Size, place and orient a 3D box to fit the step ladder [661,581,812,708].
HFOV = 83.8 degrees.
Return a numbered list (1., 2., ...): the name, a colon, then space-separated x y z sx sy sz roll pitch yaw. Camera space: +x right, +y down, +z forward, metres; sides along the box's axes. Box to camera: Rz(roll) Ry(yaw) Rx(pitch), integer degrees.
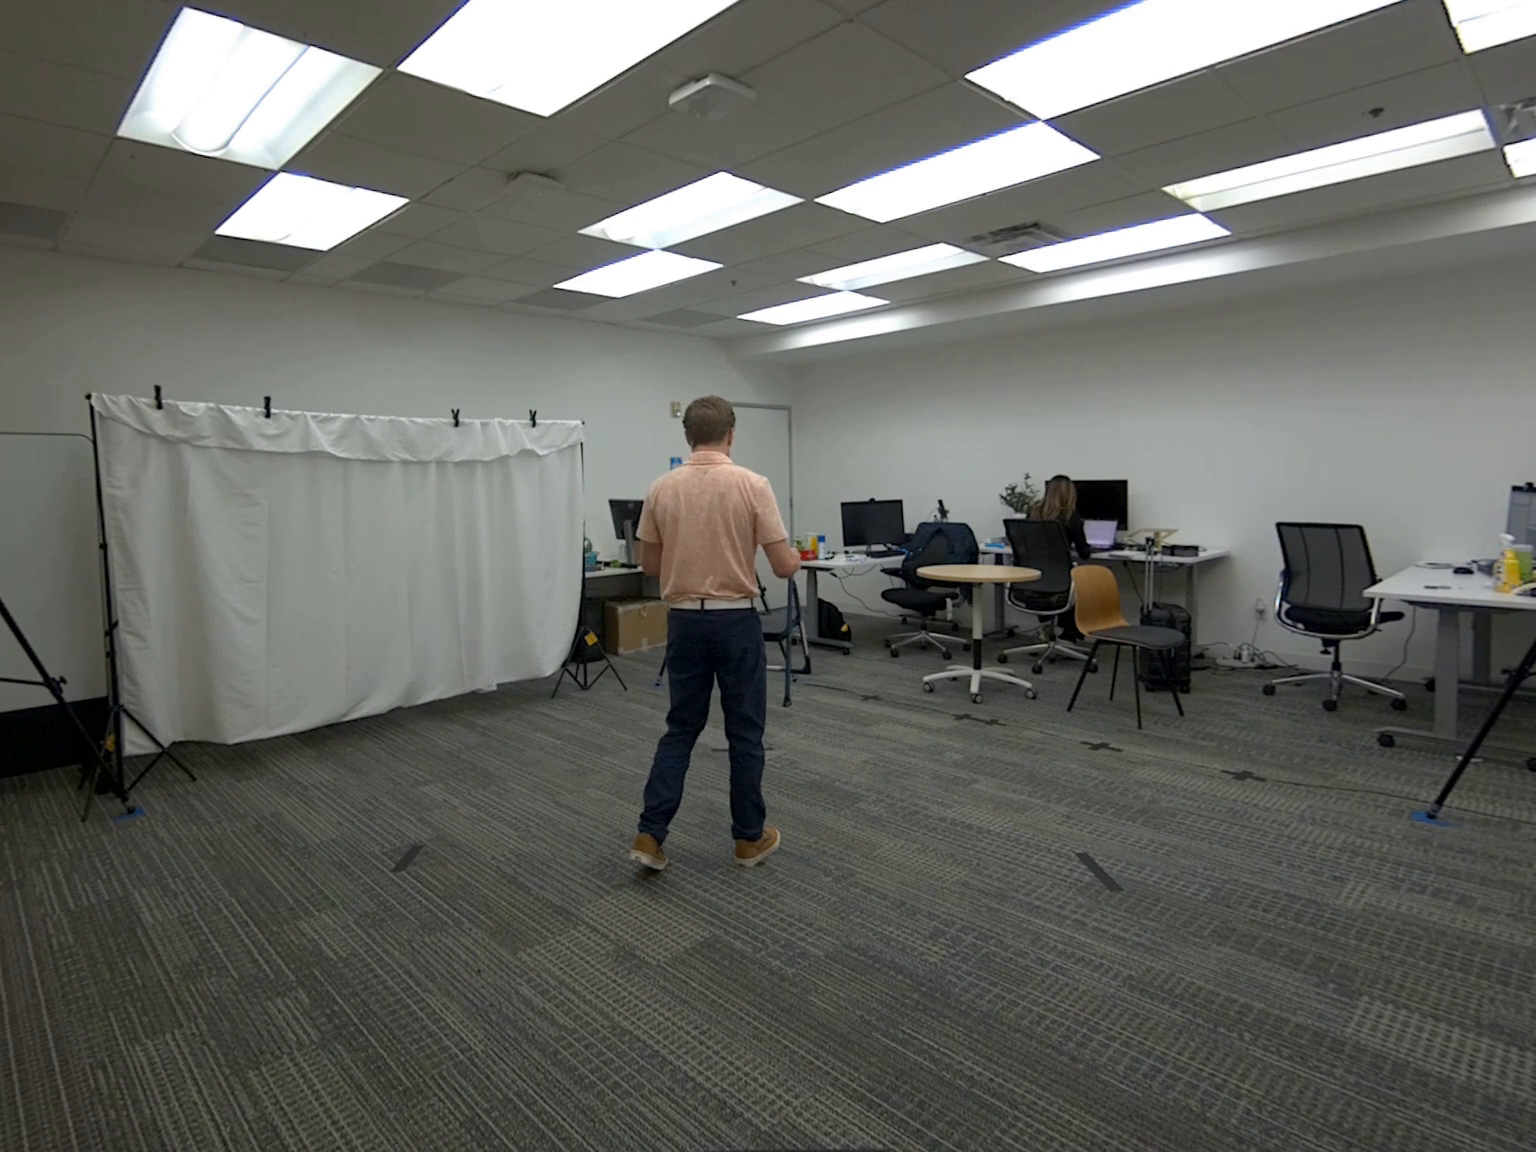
1. step ladder: -0.092 0.151 3.365 0.439 0.599 0.347 0 13 20
